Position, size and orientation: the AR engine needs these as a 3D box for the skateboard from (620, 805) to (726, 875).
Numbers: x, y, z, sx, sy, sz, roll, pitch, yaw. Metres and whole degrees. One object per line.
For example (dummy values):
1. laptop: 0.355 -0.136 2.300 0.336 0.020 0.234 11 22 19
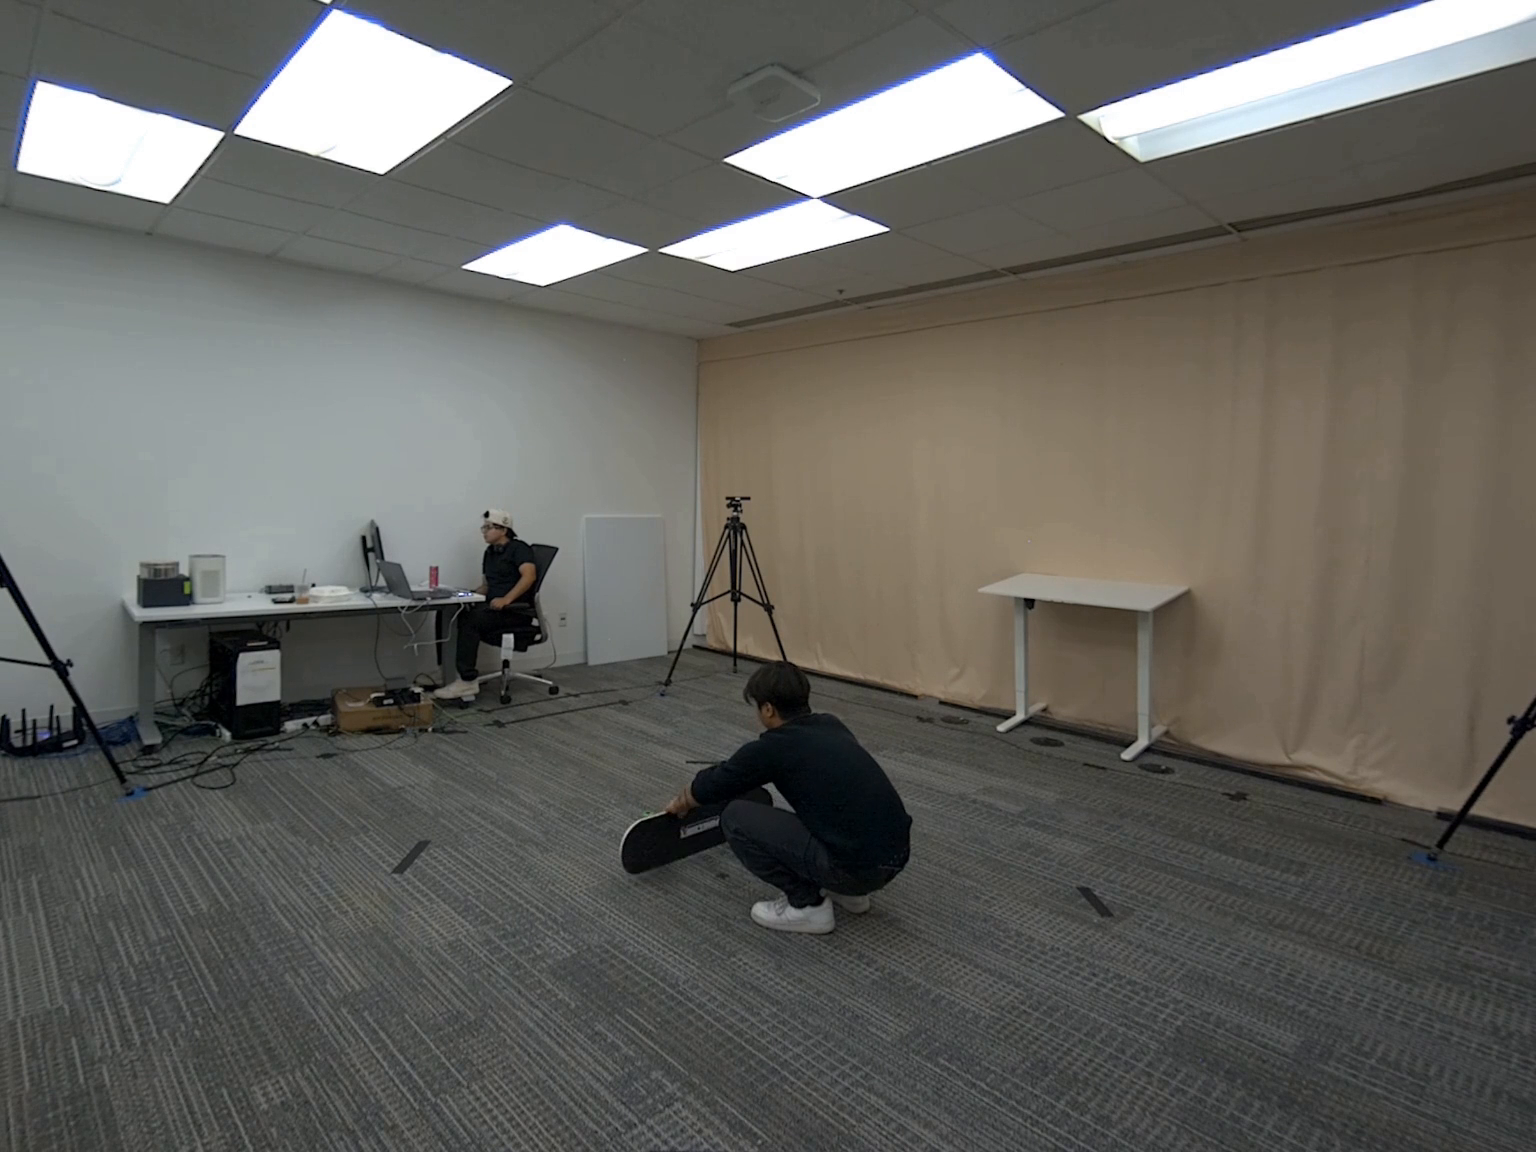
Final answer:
1. skateboard: -0.281 0.975 3.286 0.768 0.194 0.113 -4 -1 -44
